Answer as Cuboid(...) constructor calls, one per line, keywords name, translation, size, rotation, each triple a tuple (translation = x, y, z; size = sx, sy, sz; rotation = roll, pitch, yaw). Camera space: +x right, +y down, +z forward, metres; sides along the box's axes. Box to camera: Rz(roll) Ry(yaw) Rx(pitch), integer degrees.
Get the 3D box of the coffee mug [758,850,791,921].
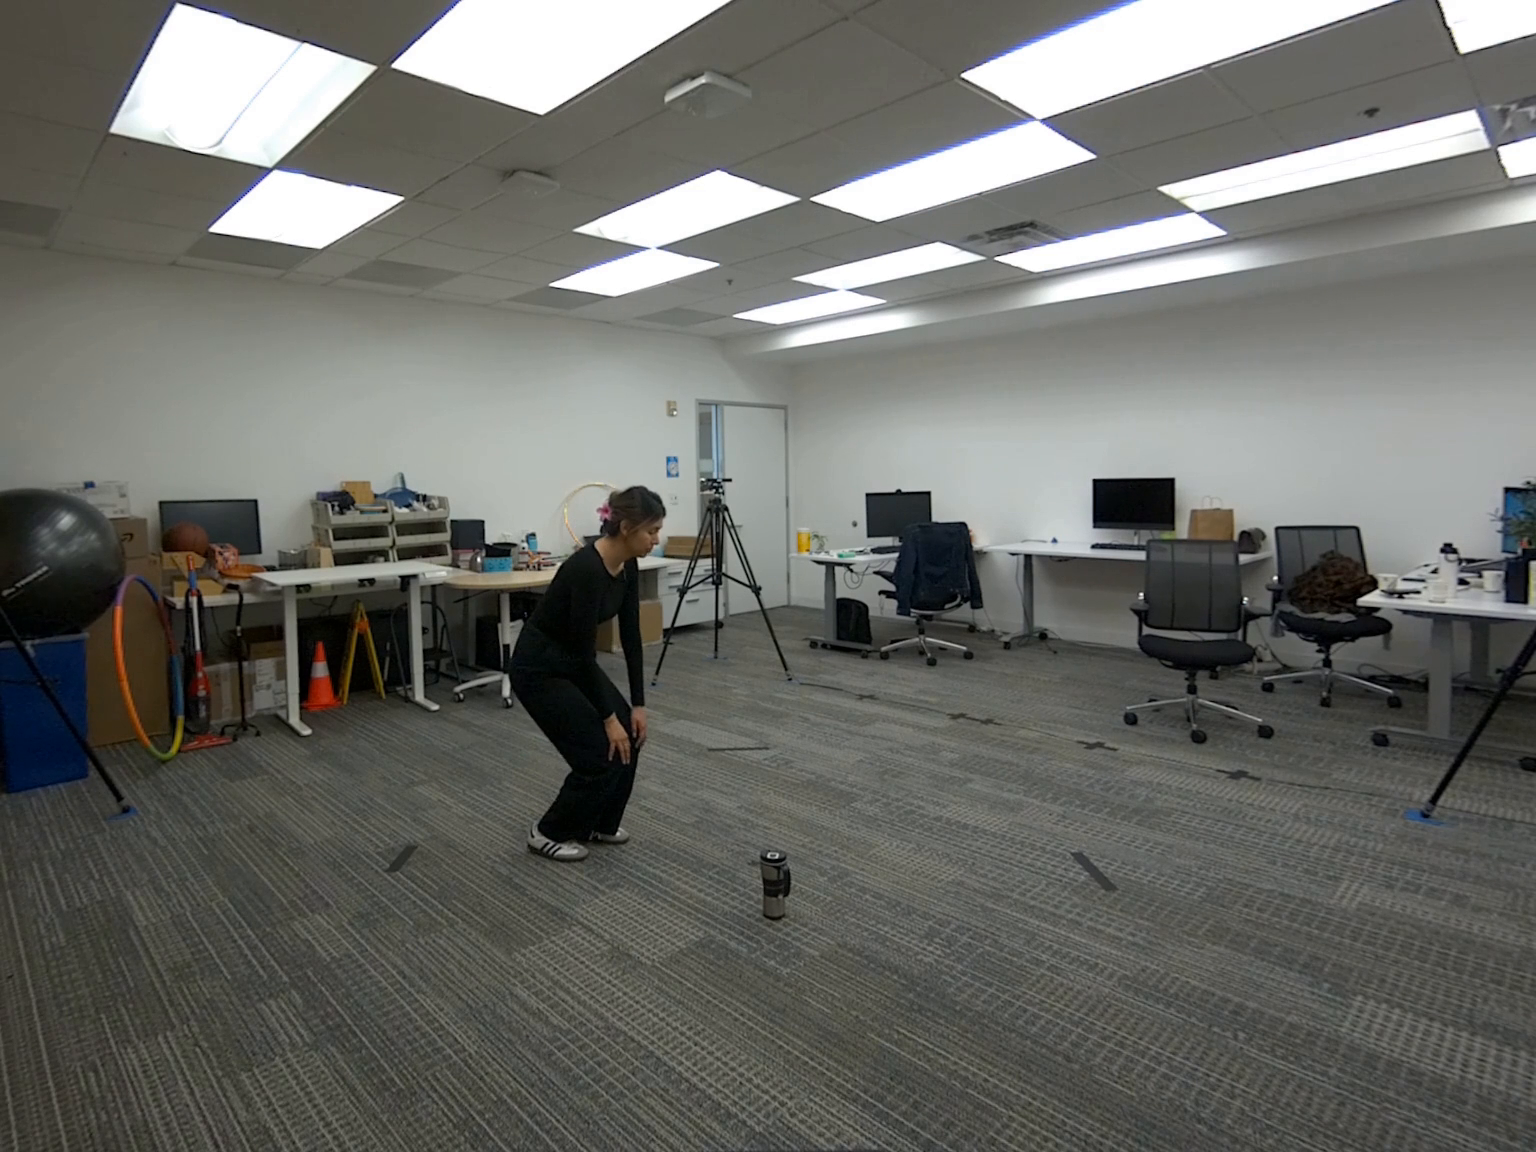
Cuboid(name="coffee mug", translation=(0.025, 0.990, 2.706), size=(0.088, 0.202, 0.122), rotation=(0, 3, -1))
